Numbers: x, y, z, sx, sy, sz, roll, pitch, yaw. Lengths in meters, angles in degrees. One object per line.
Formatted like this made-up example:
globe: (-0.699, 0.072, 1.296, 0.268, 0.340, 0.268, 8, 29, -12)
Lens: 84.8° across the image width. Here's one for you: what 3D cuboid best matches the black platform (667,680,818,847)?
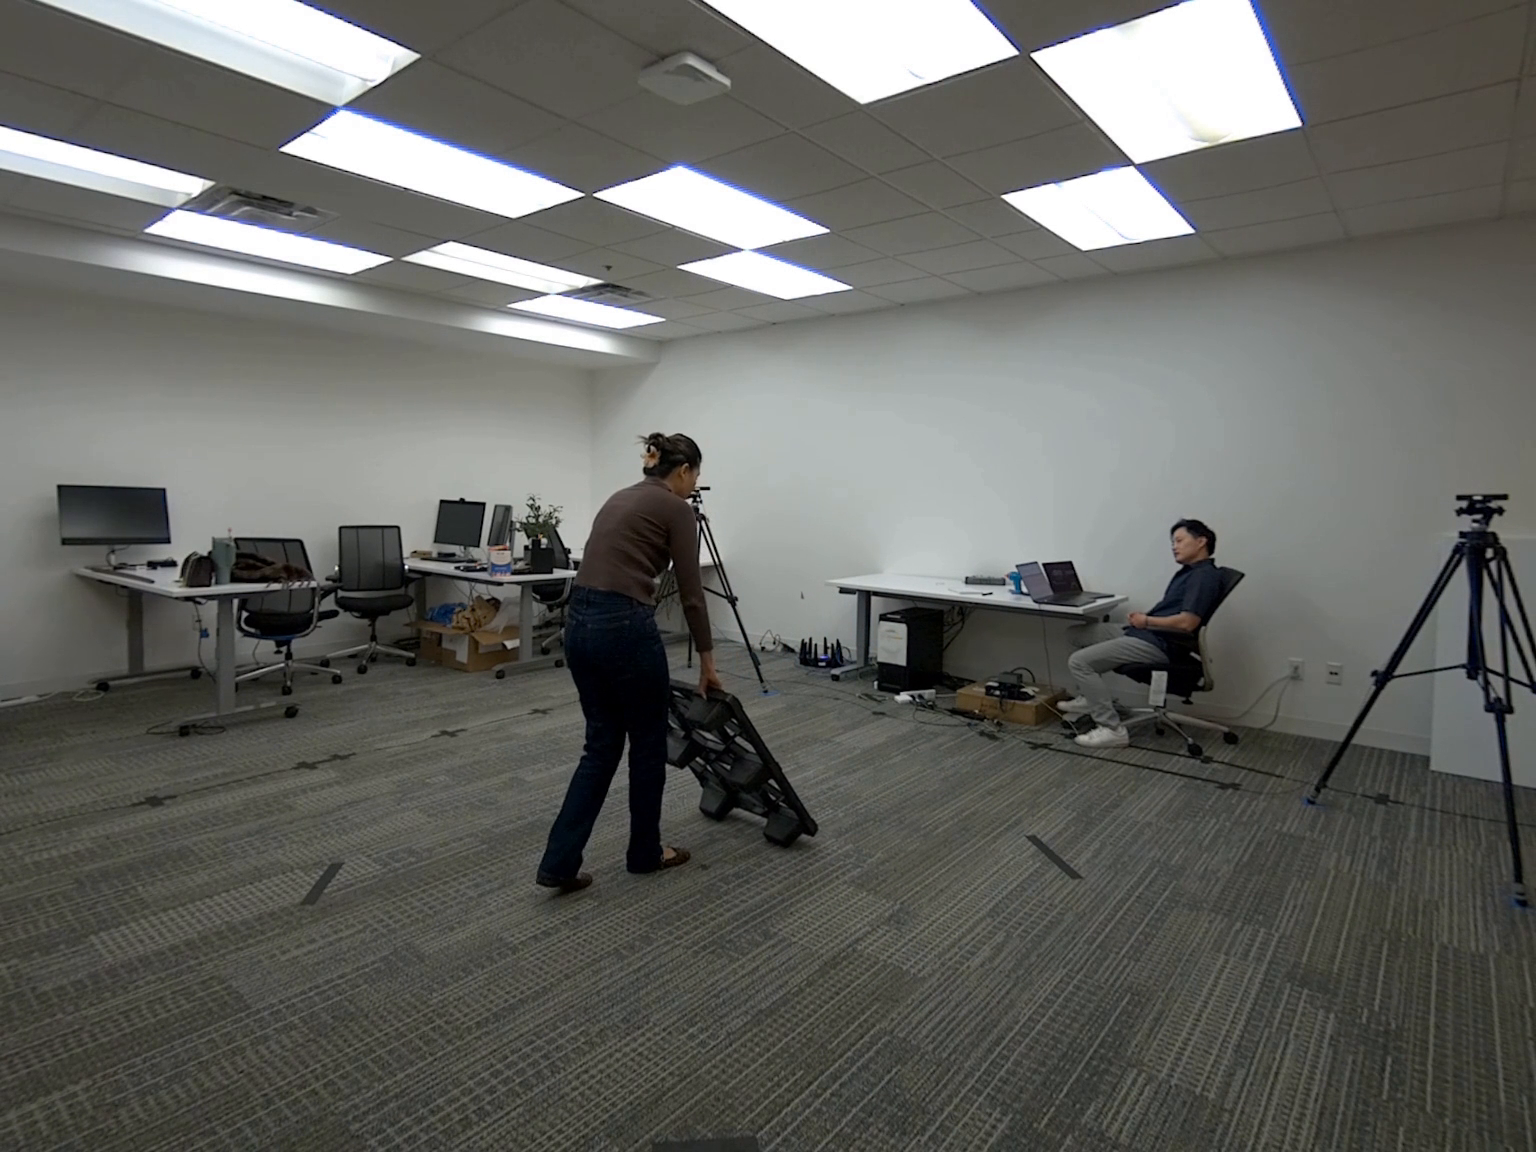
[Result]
black platform: (-0.226, 0.712, 3.320, 0.625, 0.778, 0.143, 4, 43, 44)
